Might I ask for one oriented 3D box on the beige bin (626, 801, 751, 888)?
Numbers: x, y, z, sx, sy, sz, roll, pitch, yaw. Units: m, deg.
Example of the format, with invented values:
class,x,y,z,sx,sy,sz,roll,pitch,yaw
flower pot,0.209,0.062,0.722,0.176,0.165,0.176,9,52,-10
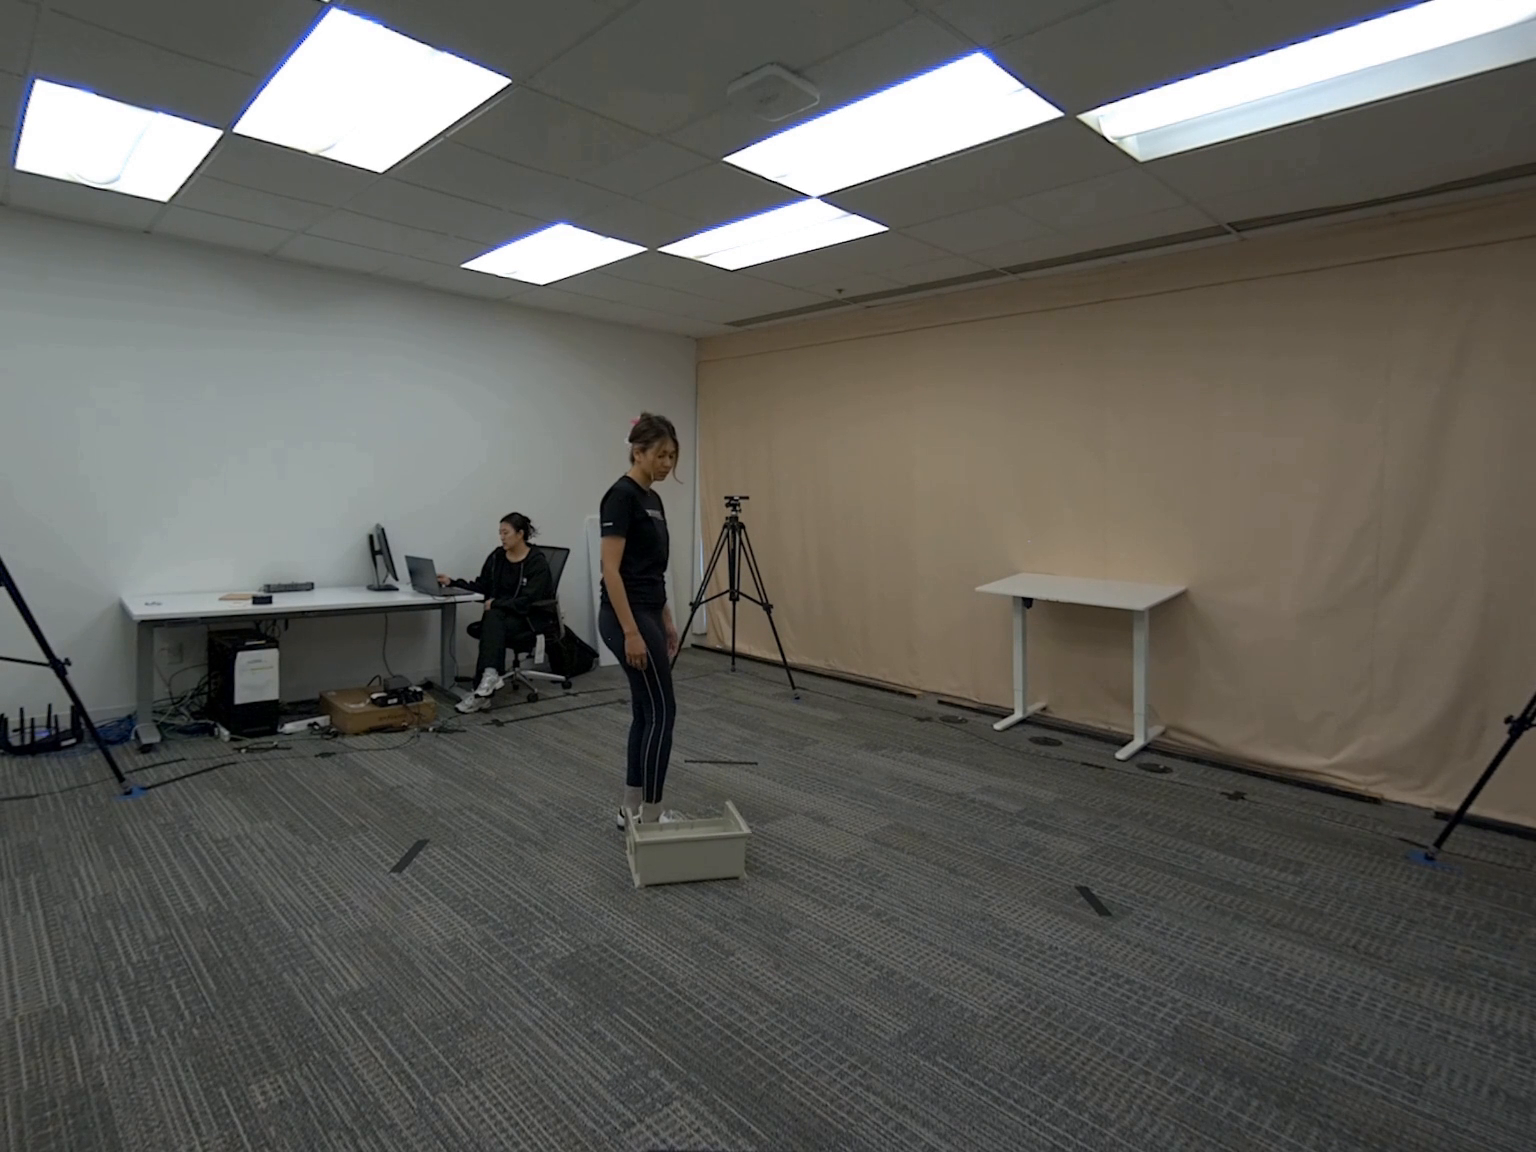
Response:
class,x,y,z,sx,sy,sz,roll,pitch,yaw
beige bin,-0.320,0.999,3.184,0.417,0.188,0.383,1,7,-15
